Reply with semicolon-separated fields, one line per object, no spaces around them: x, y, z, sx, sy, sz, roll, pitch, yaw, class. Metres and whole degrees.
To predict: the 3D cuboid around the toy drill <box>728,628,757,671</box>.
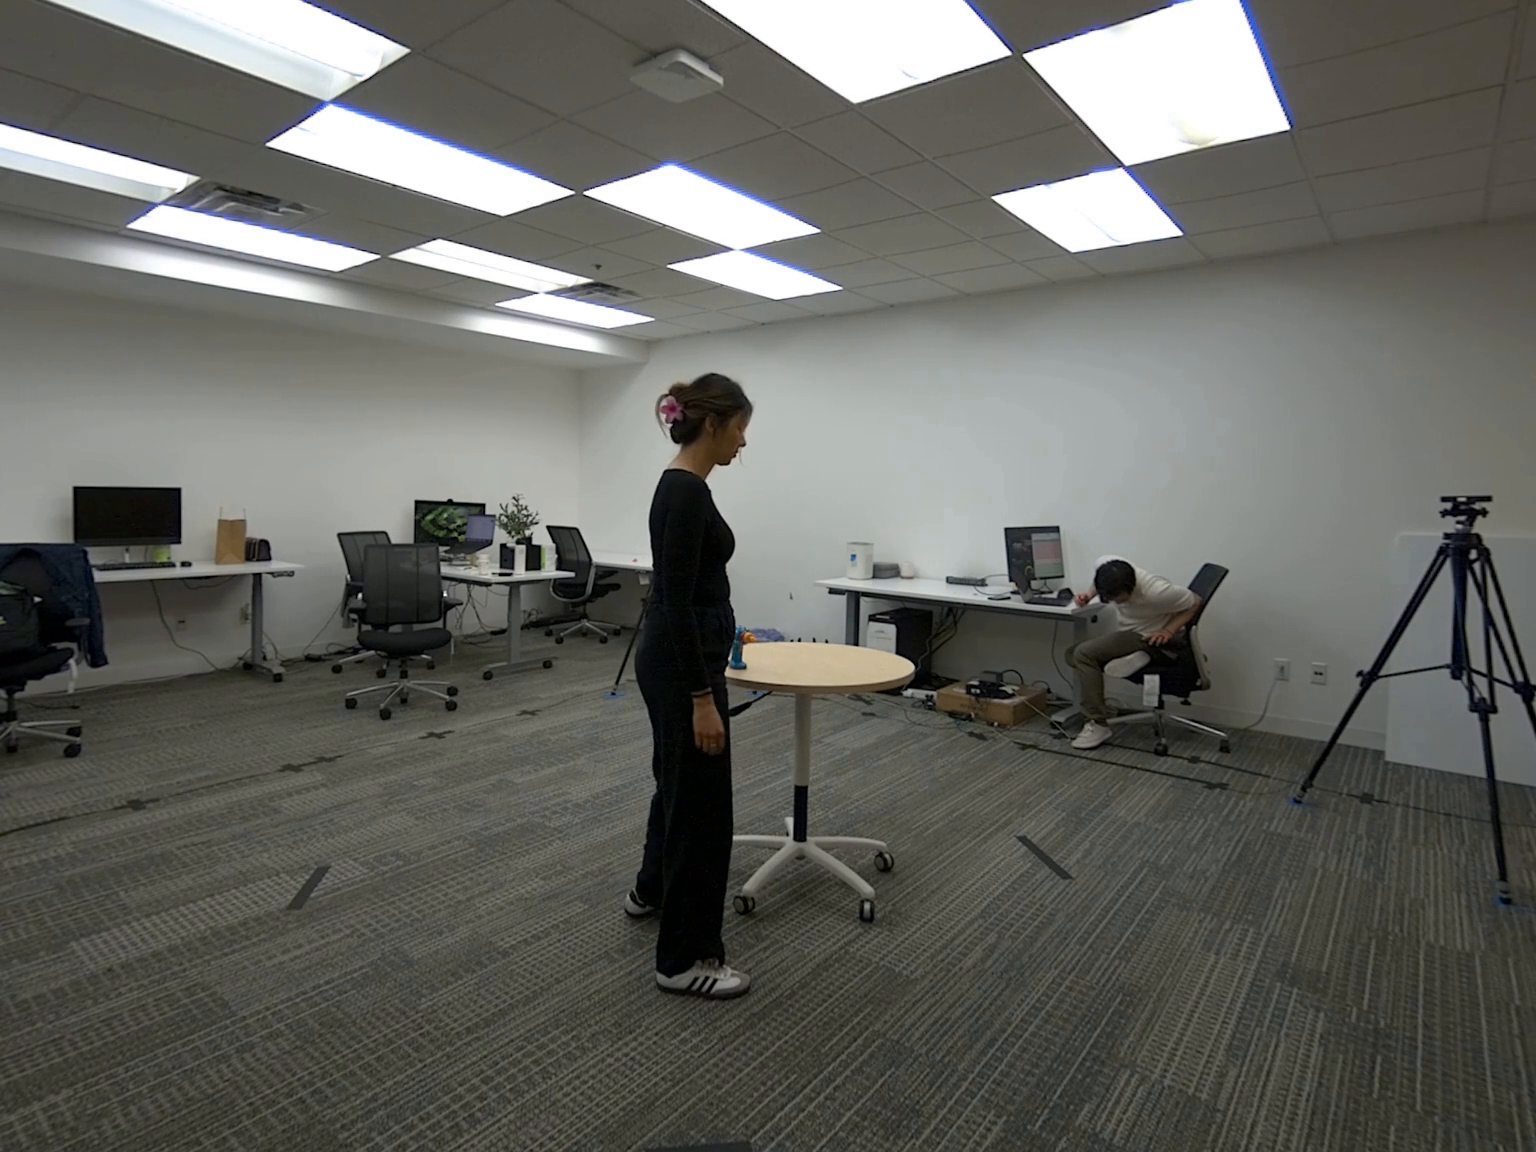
-0.088;0.237;2.846;0.059;0.146;0.174;-1;4;-28;toy drill
